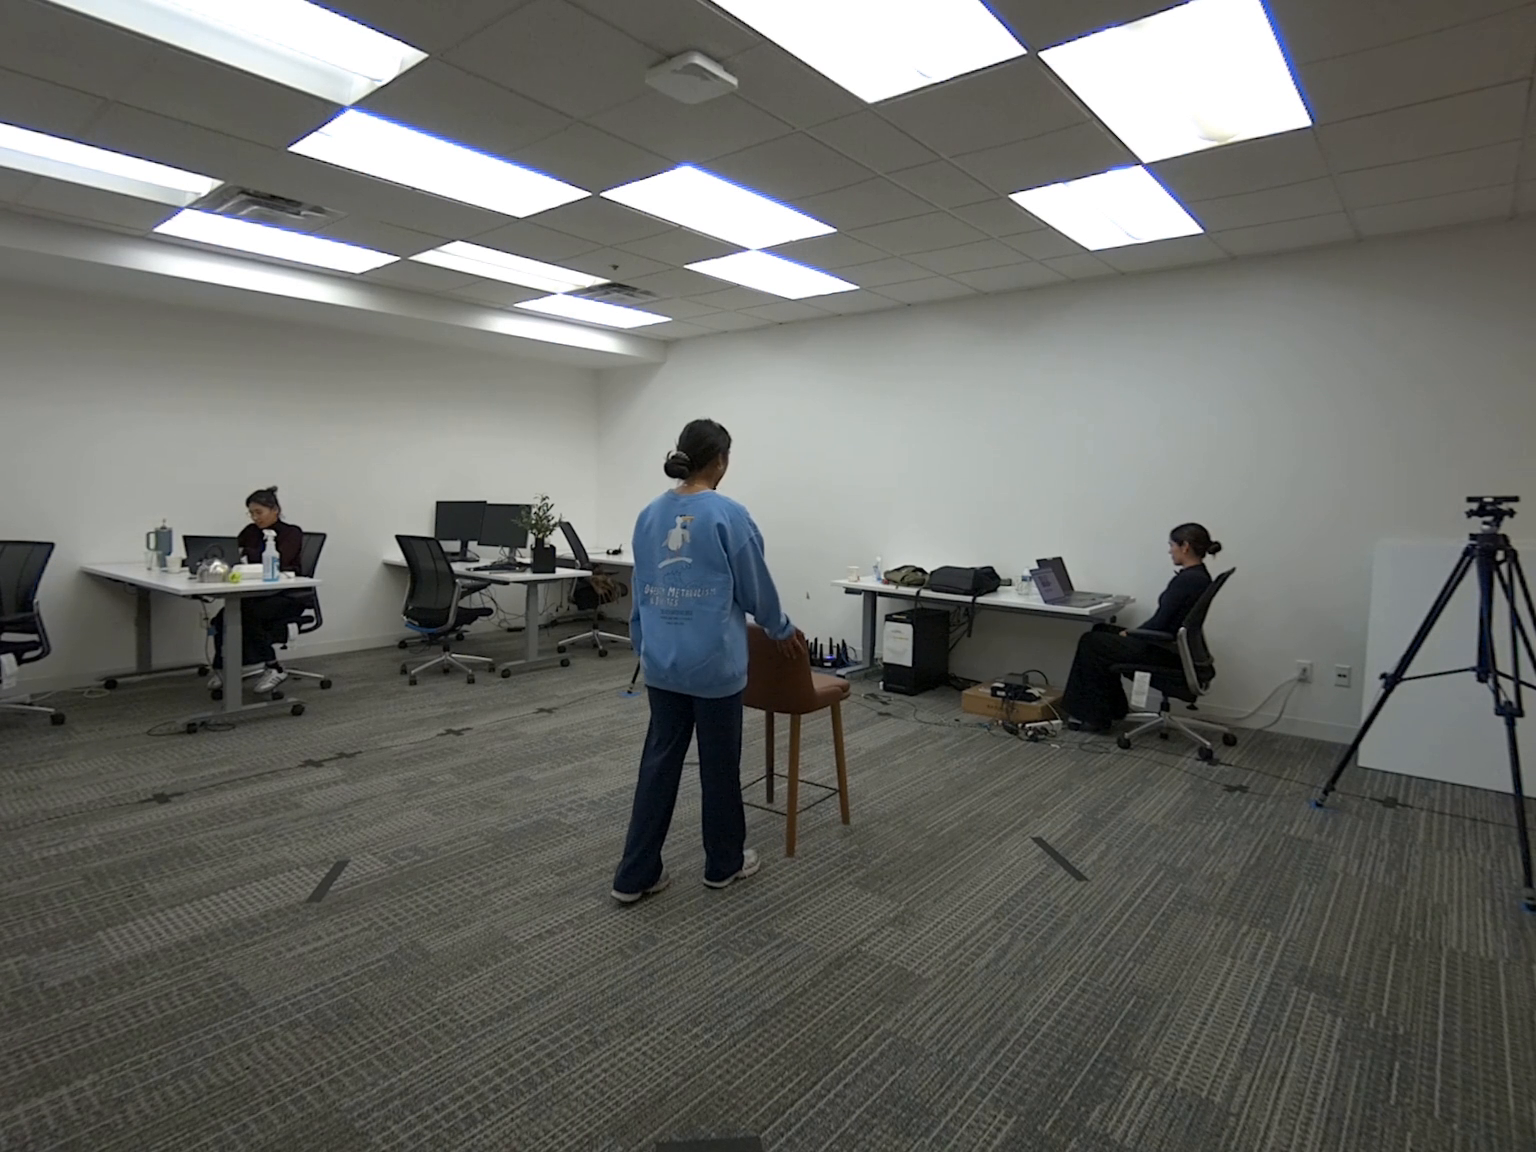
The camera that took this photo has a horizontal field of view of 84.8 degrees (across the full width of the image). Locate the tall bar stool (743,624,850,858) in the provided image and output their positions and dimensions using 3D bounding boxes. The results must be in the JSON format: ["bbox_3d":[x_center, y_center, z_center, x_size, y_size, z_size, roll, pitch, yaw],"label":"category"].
[{"bbox_3d":[0.047,0.595,3.466,0.471,0.886,0.455,3,6,35],"label":"tall bar stool"}]
